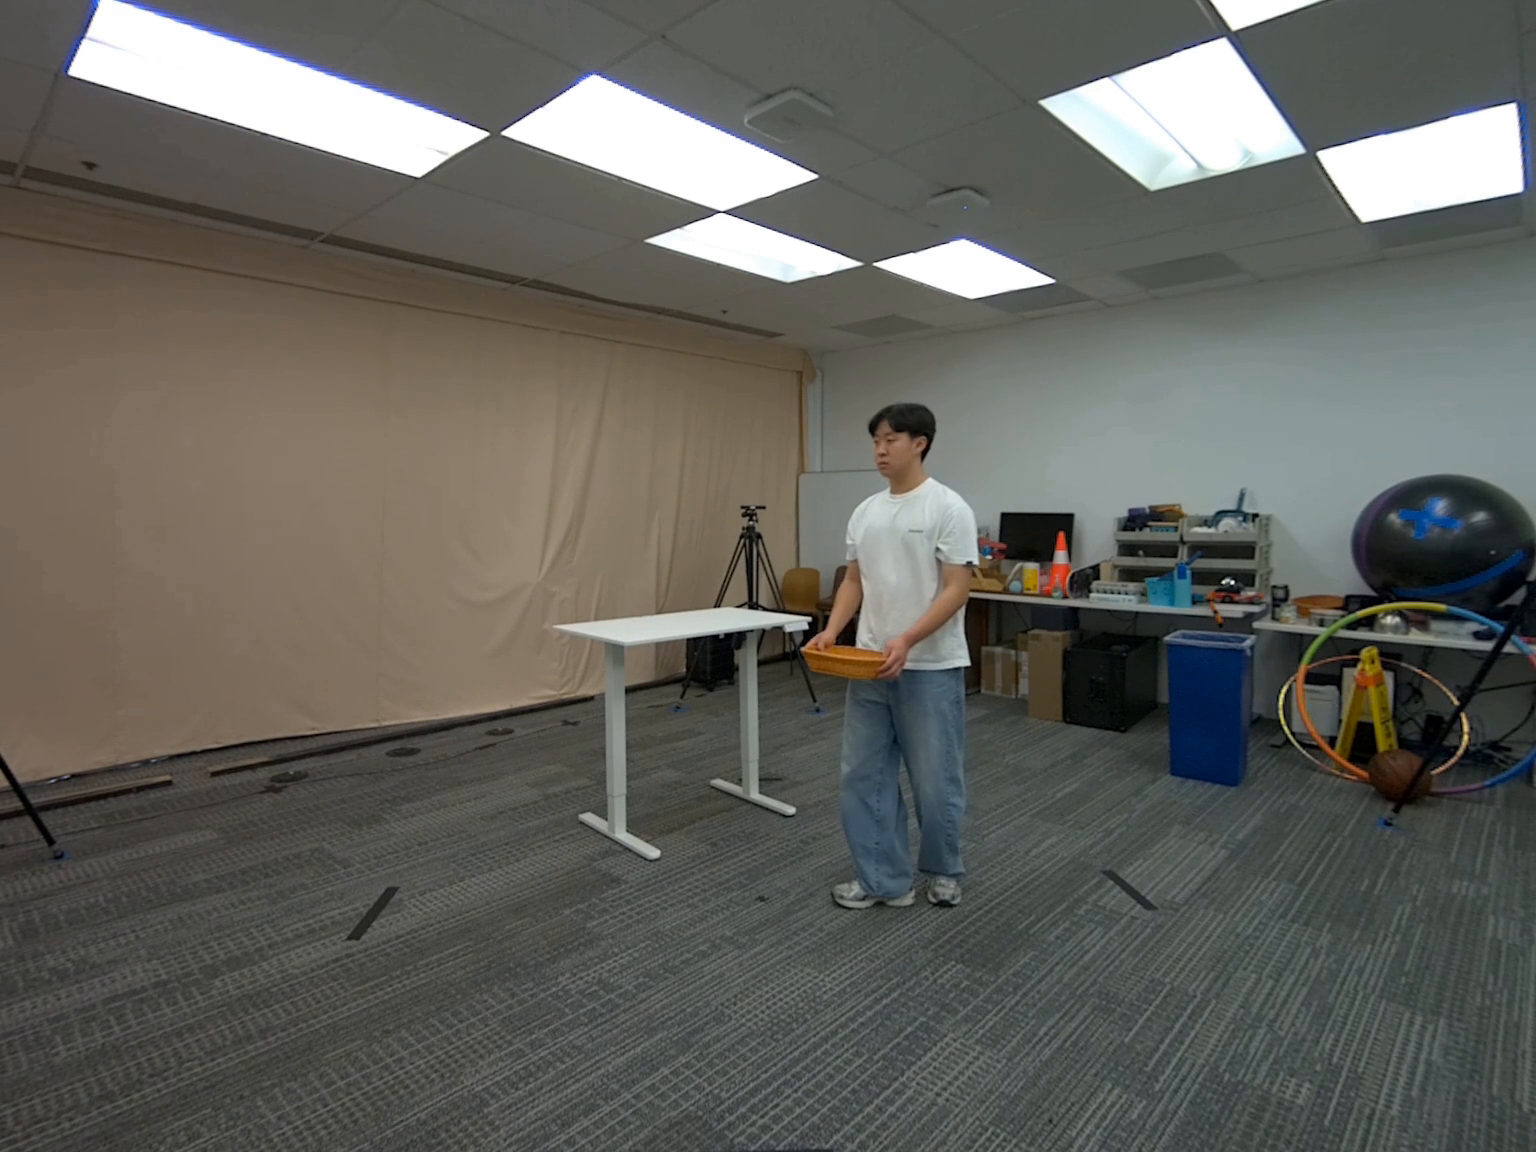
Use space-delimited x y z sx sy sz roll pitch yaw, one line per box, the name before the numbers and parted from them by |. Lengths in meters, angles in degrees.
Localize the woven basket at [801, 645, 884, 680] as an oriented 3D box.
woven basket | 0.294 0.288 2.802 0.244 0.073 0.362 2 1 -42
